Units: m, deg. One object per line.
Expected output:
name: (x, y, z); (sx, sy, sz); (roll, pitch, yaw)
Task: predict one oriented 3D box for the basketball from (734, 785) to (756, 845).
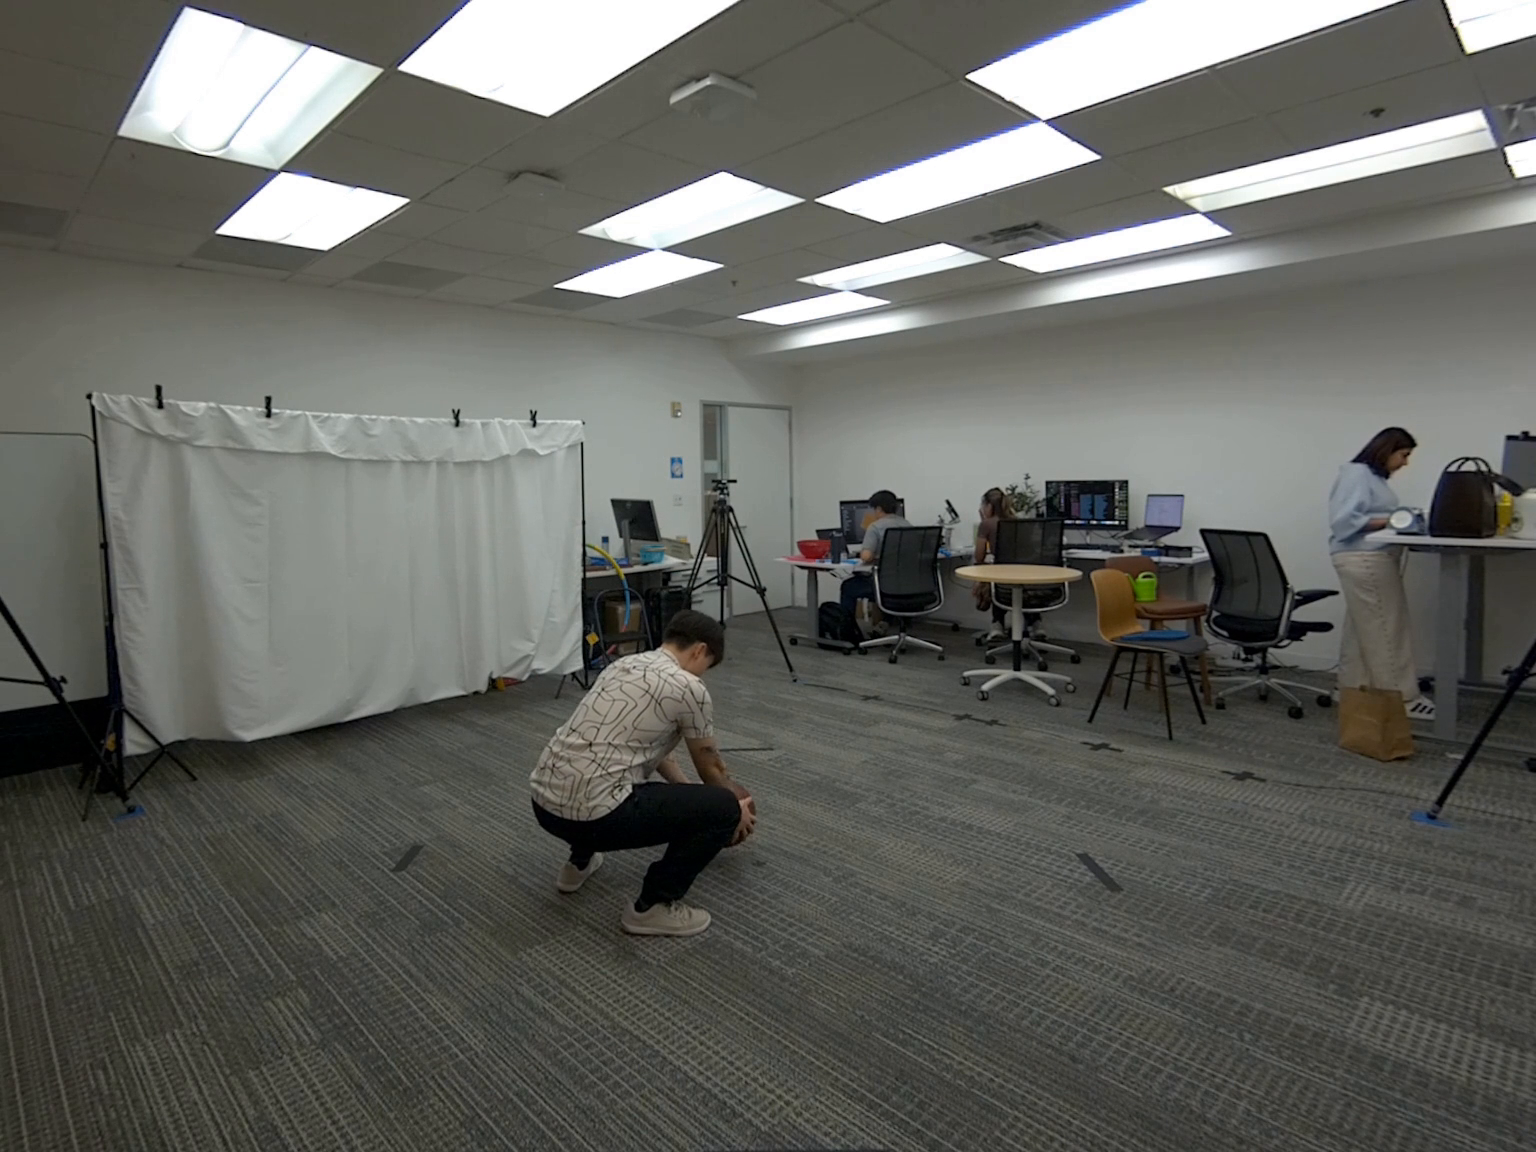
basketball: (-0.158, 0.863, 3.143); (0.236, 0.235, 0.237); (-1, 5, -2)
